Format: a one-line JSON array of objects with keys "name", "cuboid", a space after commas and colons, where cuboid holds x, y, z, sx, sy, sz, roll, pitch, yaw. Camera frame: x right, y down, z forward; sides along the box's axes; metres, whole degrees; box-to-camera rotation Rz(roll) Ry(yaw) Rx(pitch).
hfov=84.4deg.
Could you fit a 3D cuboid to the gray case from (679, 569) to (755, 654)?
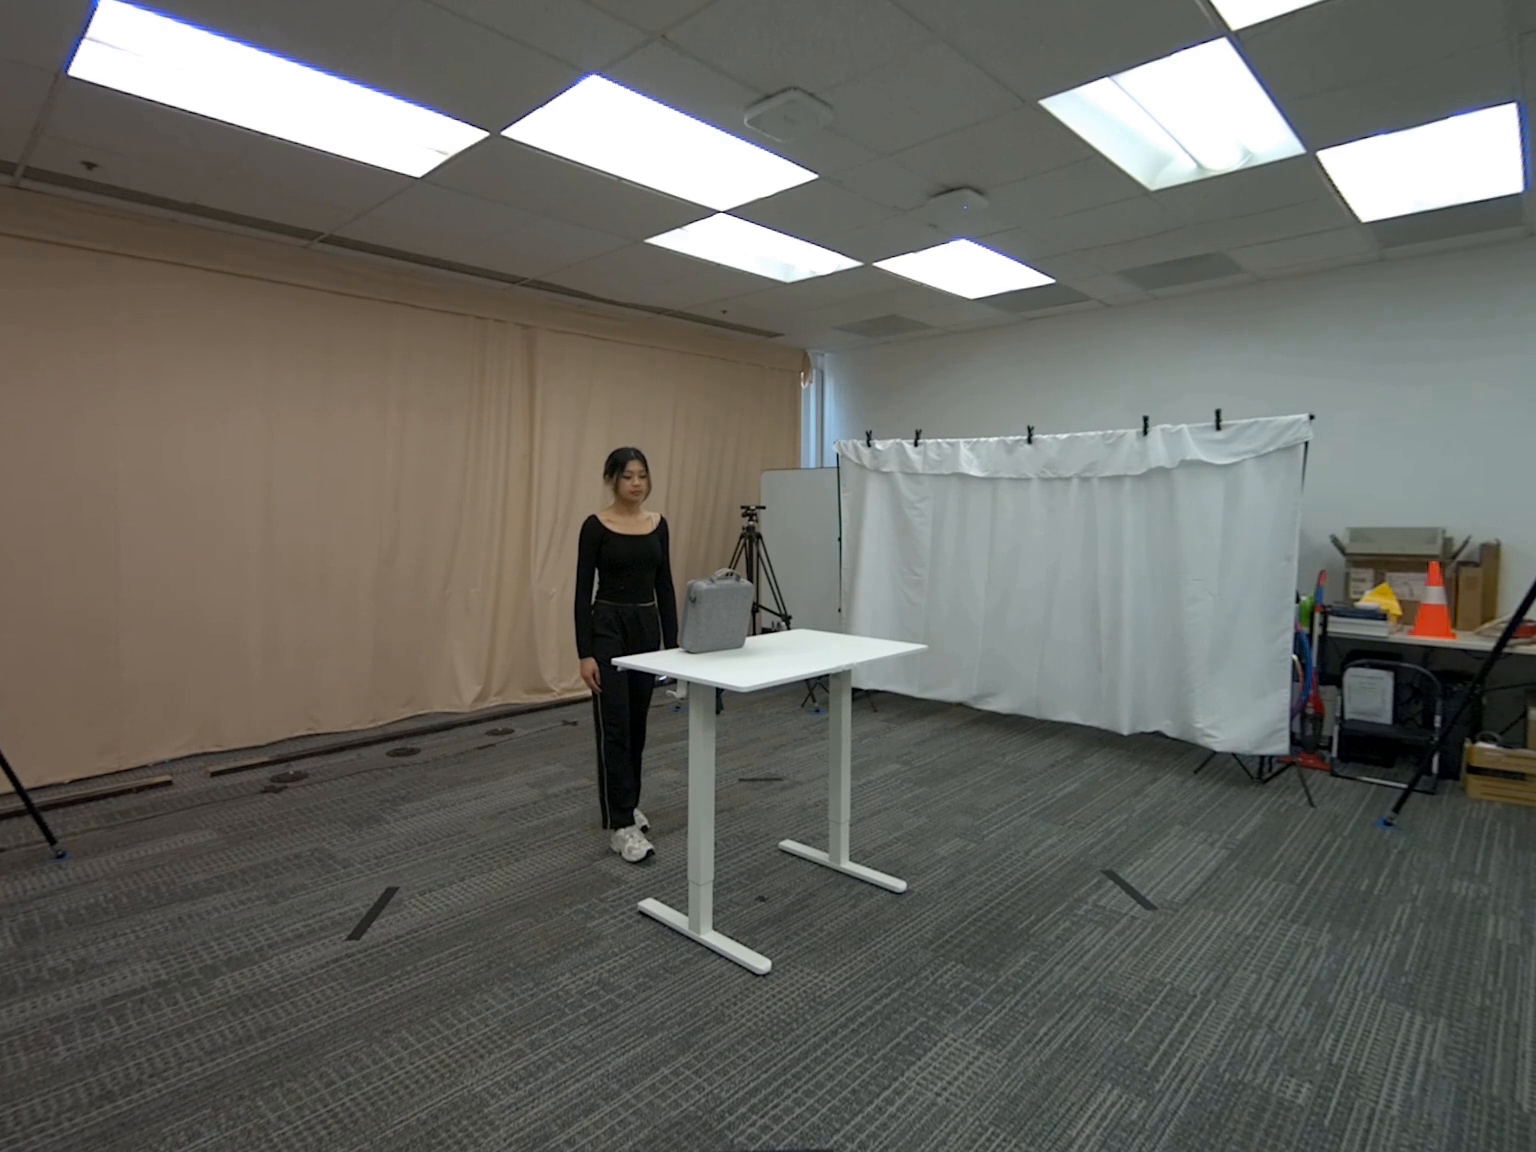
[{"name": "gray case", "cuboid": [-0.178, 0.132, 2.949, 0.249, 0.259, 0.108, -3, 18, -39]}]
